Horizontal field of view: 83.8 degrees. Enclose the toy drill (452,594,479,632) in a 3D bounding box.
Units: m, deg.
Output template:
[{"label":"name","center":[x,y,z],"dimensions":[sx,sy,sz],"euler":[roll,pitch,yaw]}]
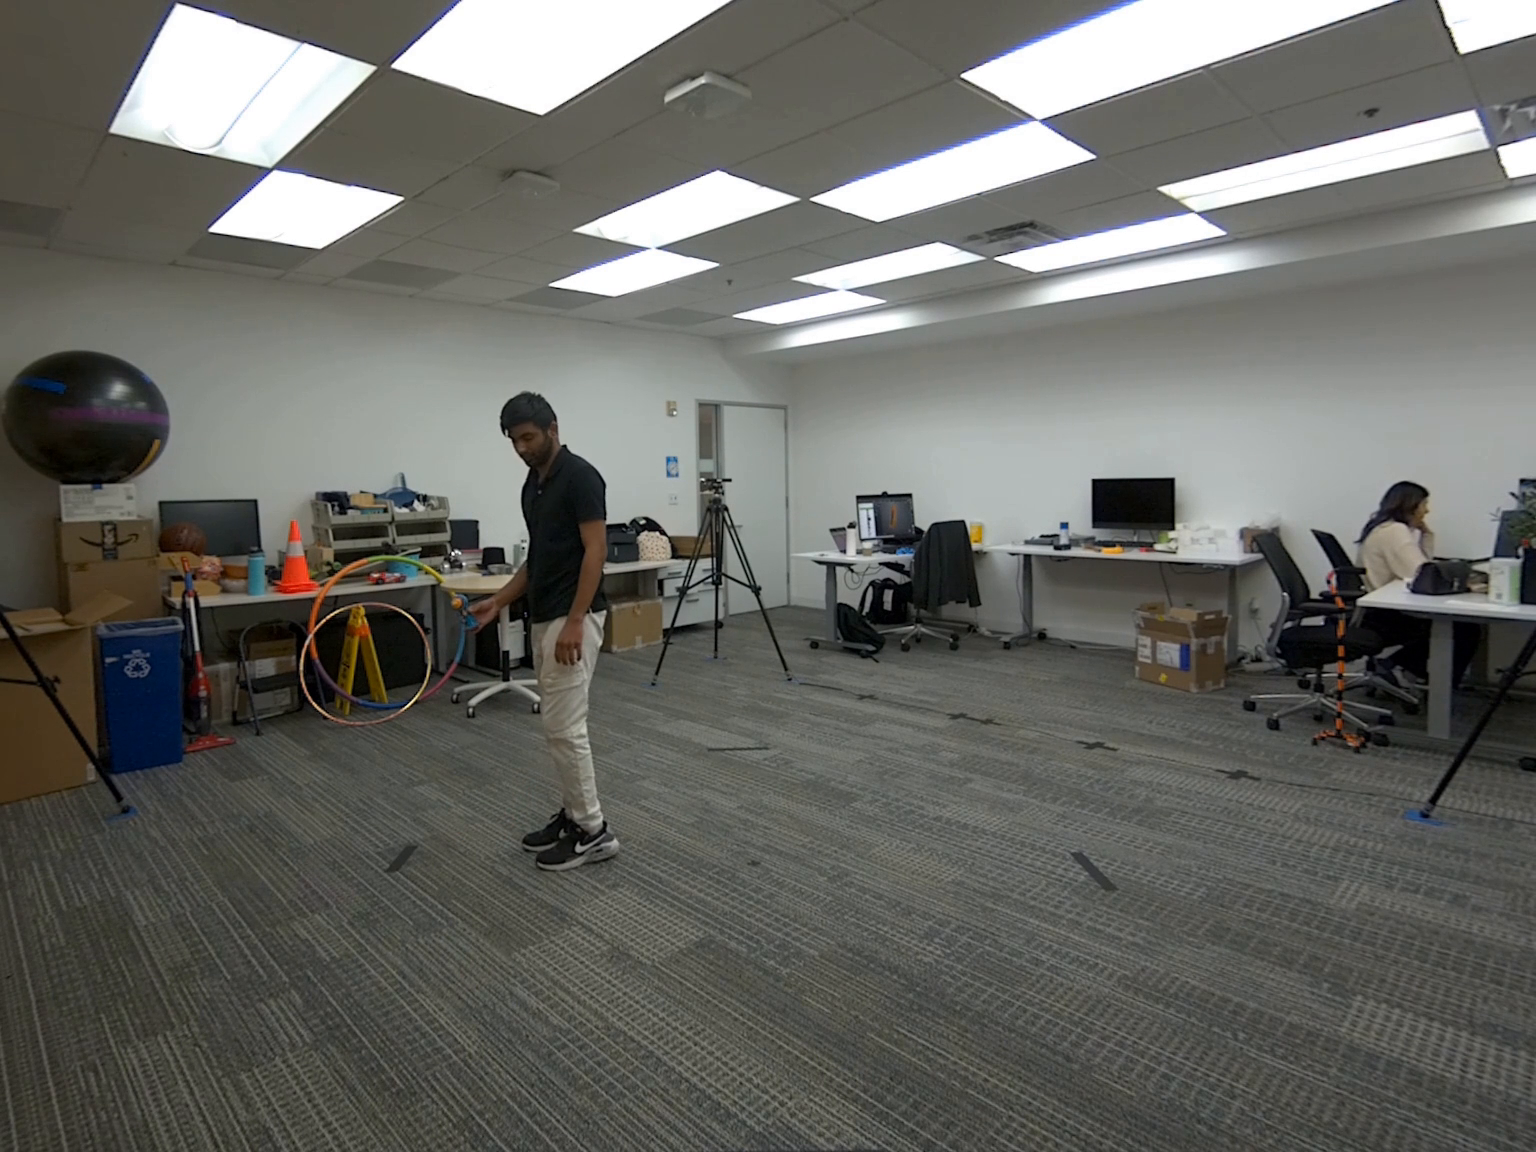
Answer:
[{"label":"toy drill","center":[-1.138,0.134,3.181],"dimensions":[0.061,0.146,0.171],"euler":[-23,0,-11]}]
